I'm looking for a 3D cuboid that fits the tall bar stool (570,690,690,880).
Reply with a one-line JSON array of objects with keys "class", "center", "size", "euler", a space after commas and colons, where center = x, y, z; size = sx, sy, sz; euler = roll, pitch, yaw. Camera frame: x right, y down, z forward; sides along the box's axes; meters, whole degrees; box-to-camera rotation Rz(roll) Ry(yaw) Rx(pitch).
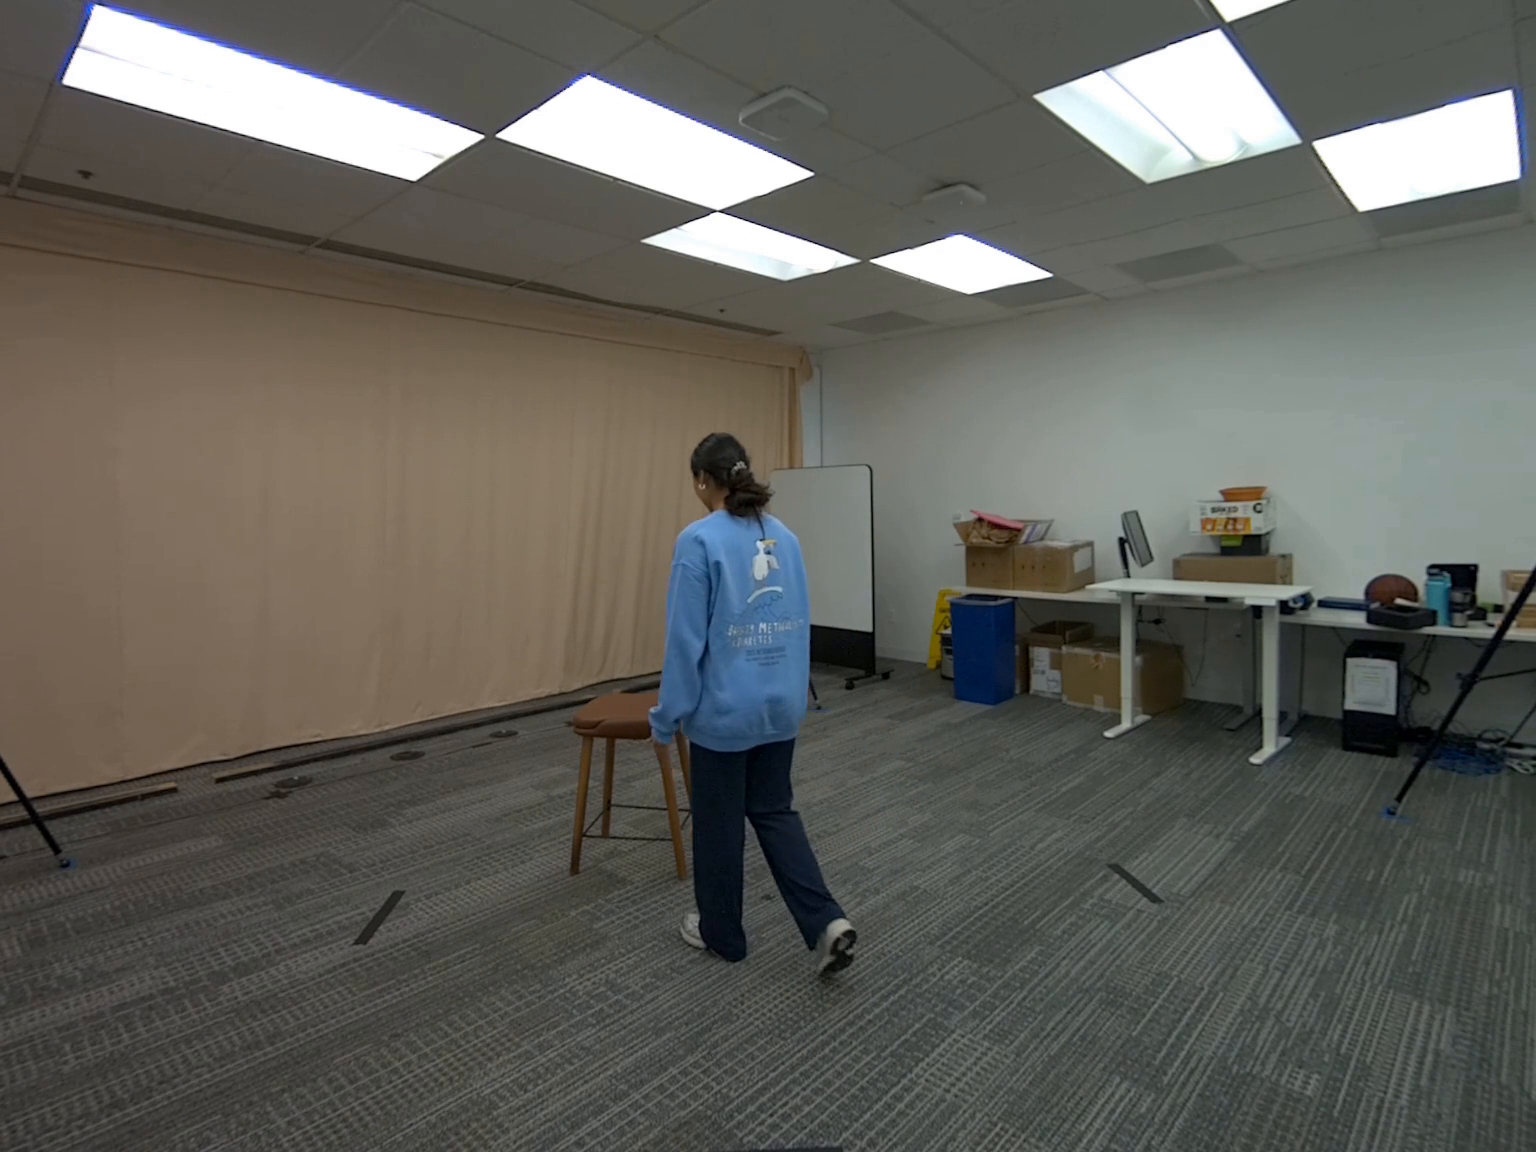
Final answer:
[{"class": "tall bar stool", "center": [-0.514, 0.687, 3.337], "size": [0.473, 0.888, 0.452], "euler": [1, 4, 10]}]
